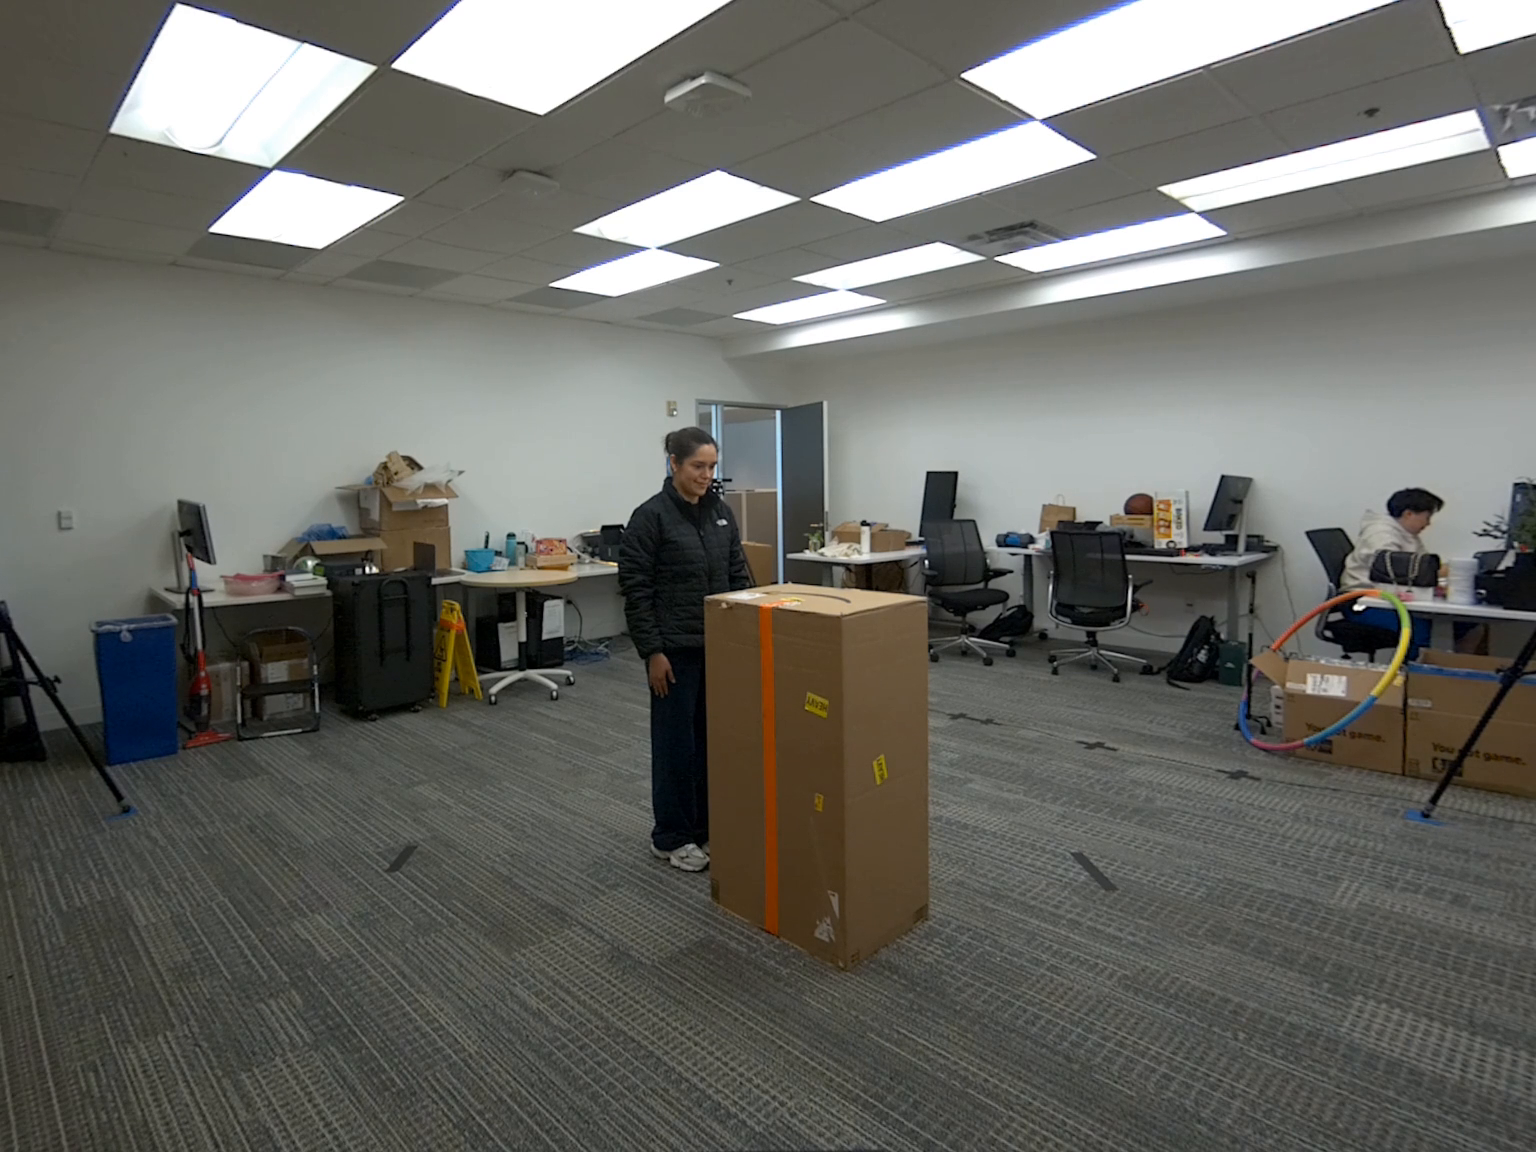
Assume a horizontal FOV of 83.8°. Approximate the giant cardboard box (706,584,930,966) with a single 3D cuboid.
[{"bbox_3d":[0.151,0.572,2.736,0.435,1.023,0.602,-6,6,-43],"label":"giant cardboard box"}]
